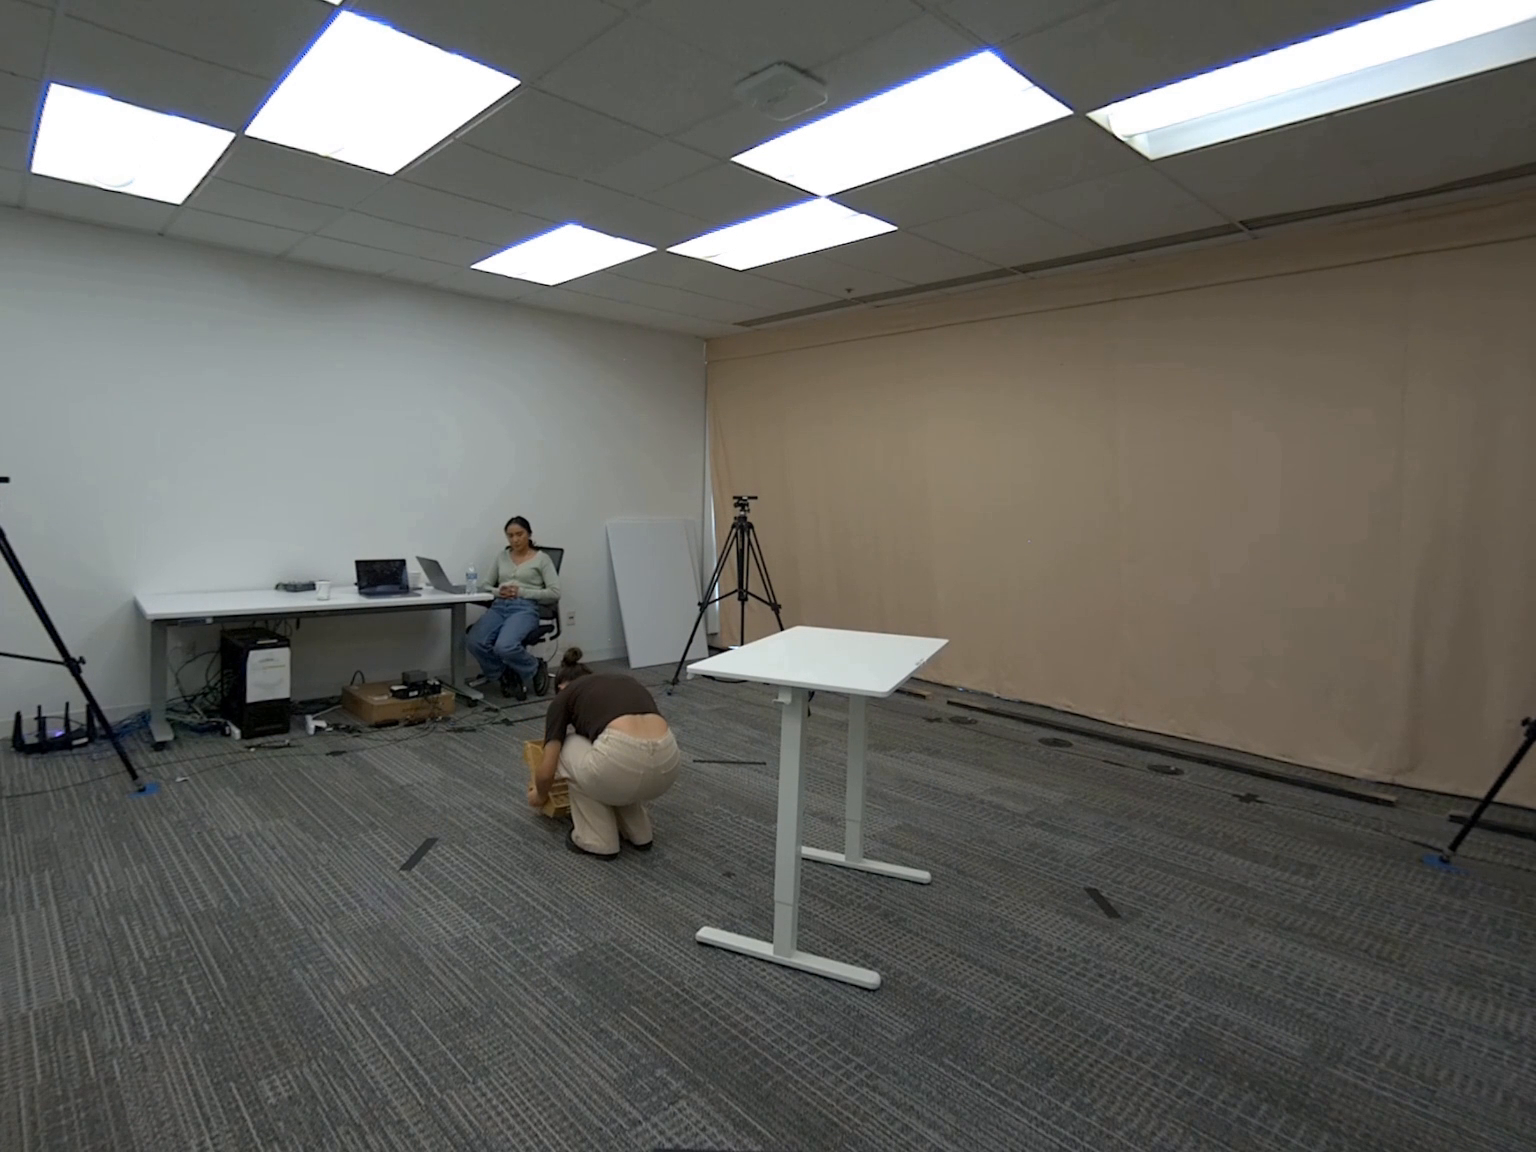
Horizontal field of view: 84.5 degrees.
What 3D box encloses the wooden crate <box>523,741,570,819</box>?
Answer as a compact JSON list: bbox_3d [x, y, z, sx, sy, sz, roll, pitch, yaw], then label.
[{"bbox_3d":[-0.866,0.854,3.645,0.316,0.273,0.309,2,0,-40],"label":"wooden crate"}]
